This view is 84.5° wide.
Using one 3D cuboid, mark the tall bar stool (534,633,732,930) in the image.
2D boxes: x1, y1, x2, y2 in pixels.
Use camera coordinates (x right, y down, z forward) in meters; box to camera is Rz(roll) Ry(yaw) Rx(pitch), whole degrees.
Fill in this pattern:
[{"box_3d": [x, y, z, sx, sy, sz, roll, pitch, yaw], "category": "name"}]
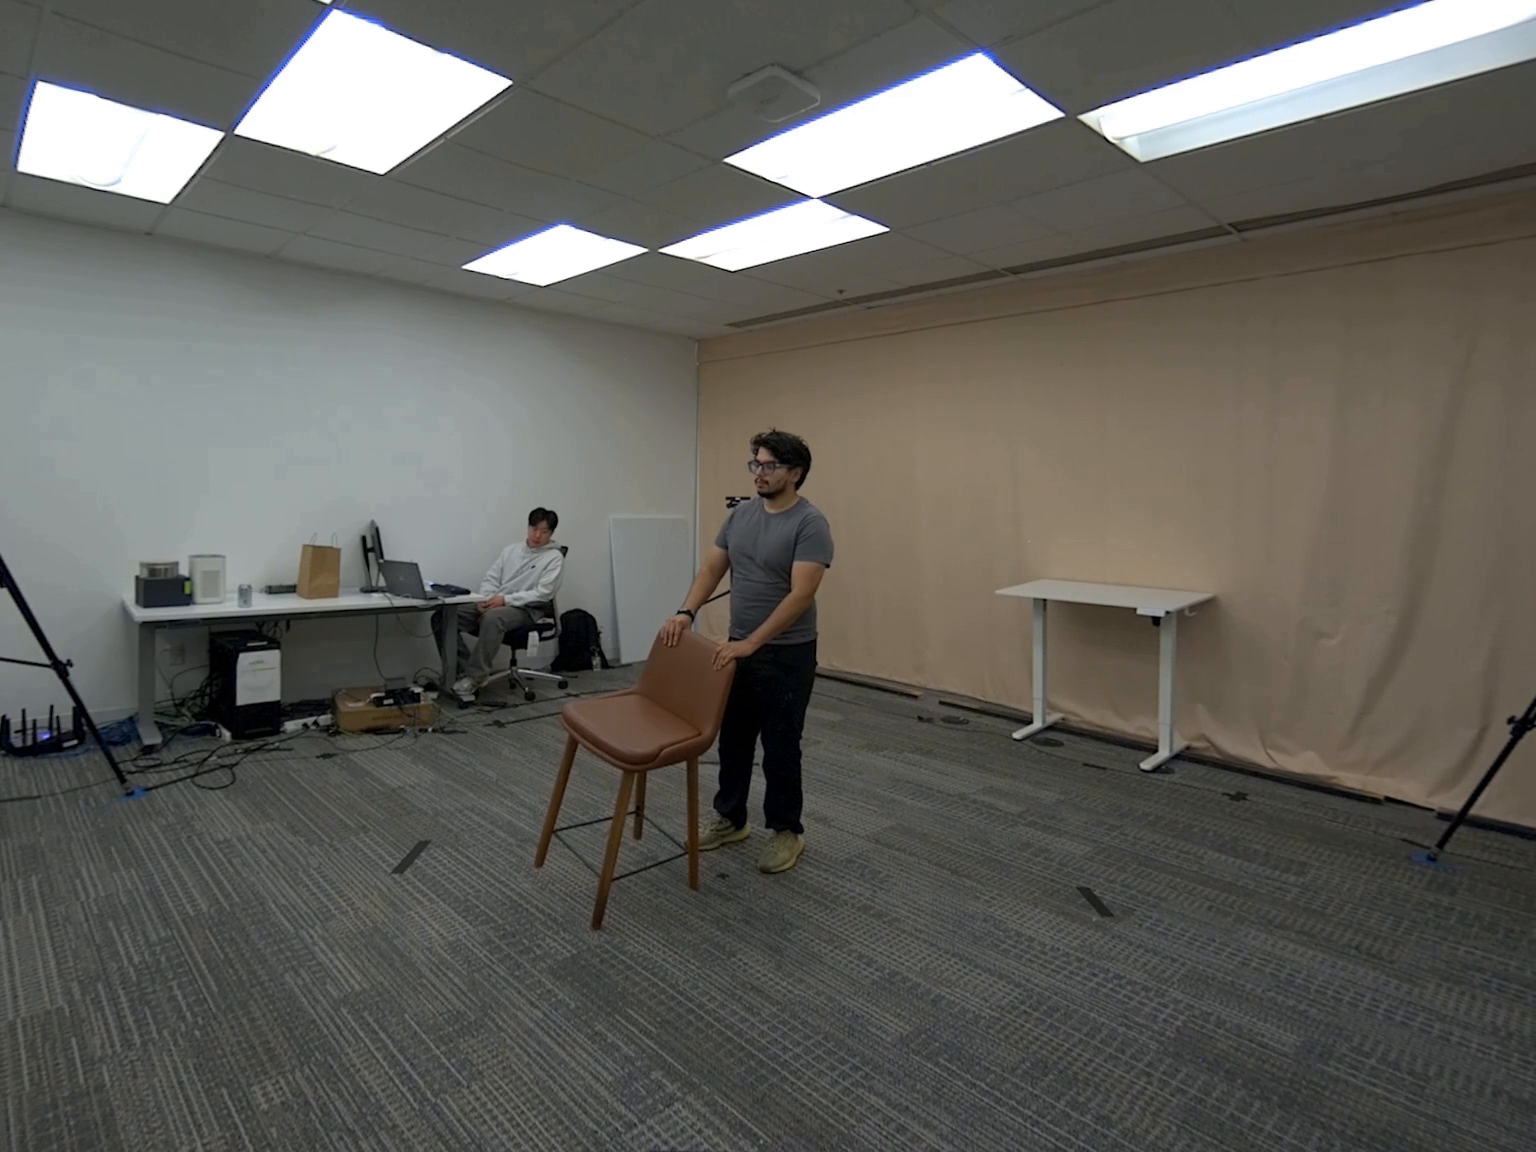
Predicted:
[{"box_3d": [-0.460, 0.655, 2.905, 0.456, 0.885, 0.470, 2, 13, -44], "category": "tall bar stool"}]
